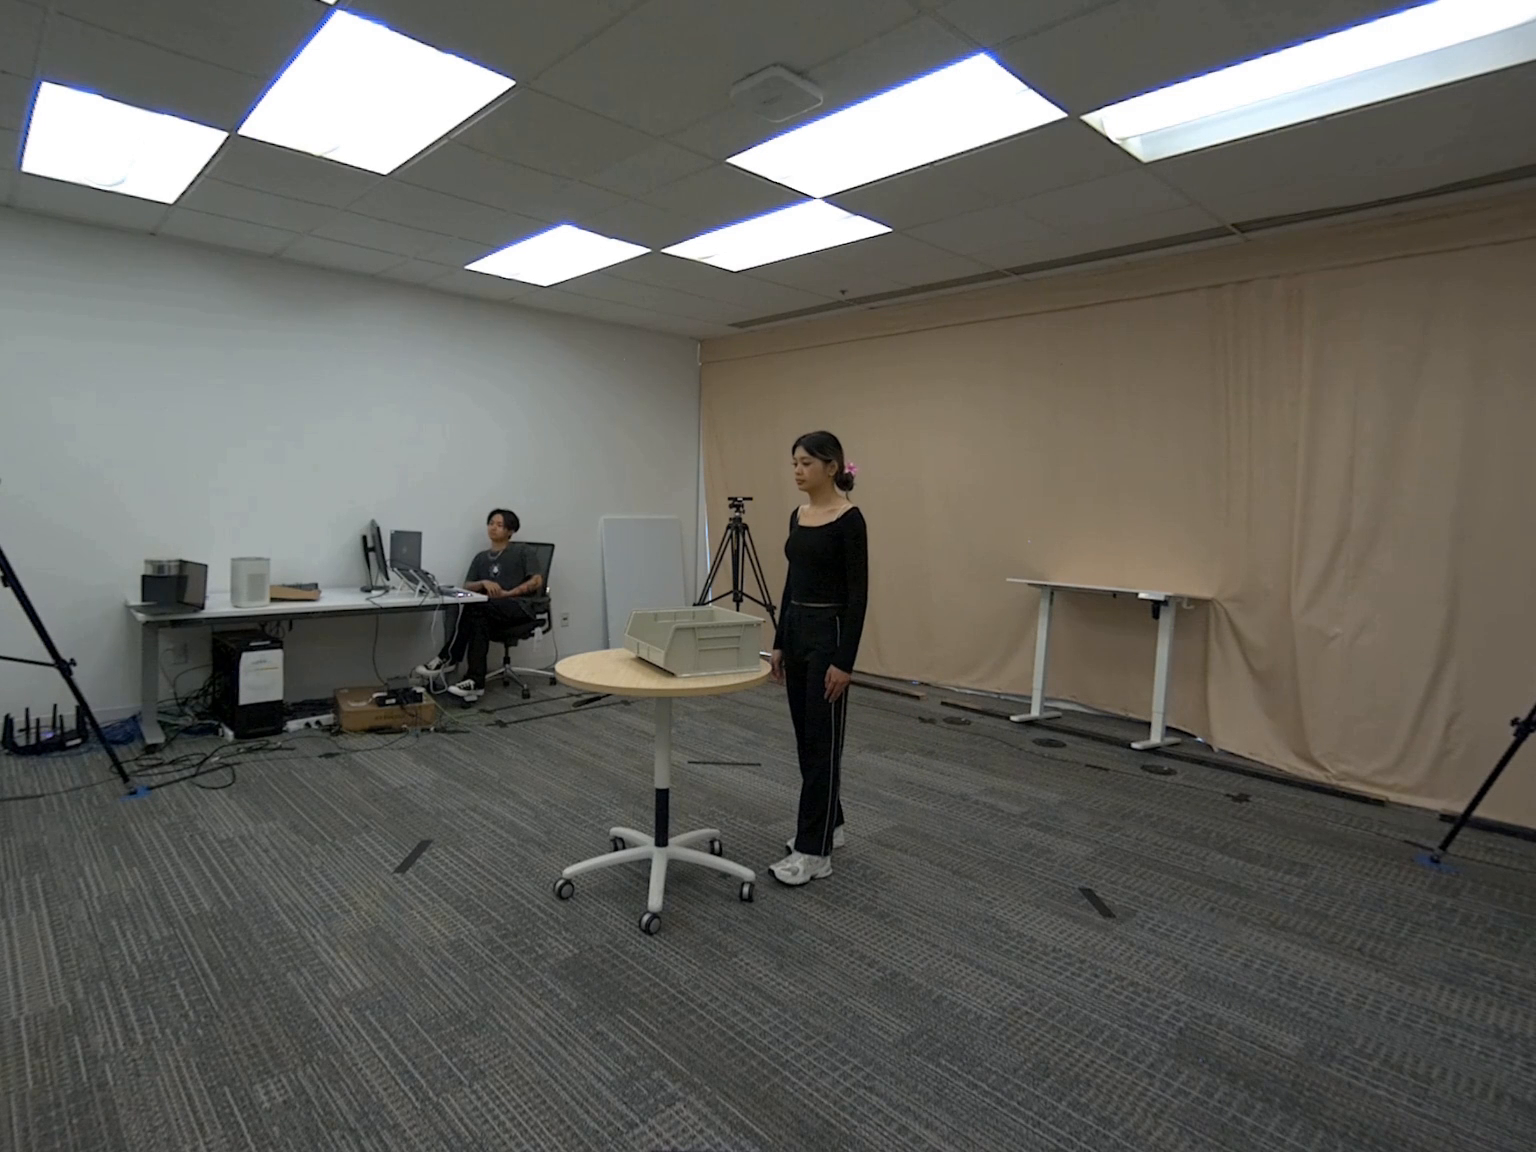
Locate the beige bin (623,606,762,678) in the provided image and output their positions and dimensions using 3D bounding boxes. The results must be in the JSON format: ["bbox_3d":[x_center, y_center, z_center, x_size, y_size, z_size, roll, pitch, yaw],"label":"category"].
[{"bbox_3d":[-0.279,0.228,3.012,0.370,0.188,0.431,0,4,-28],"label":"beige bin"}]
